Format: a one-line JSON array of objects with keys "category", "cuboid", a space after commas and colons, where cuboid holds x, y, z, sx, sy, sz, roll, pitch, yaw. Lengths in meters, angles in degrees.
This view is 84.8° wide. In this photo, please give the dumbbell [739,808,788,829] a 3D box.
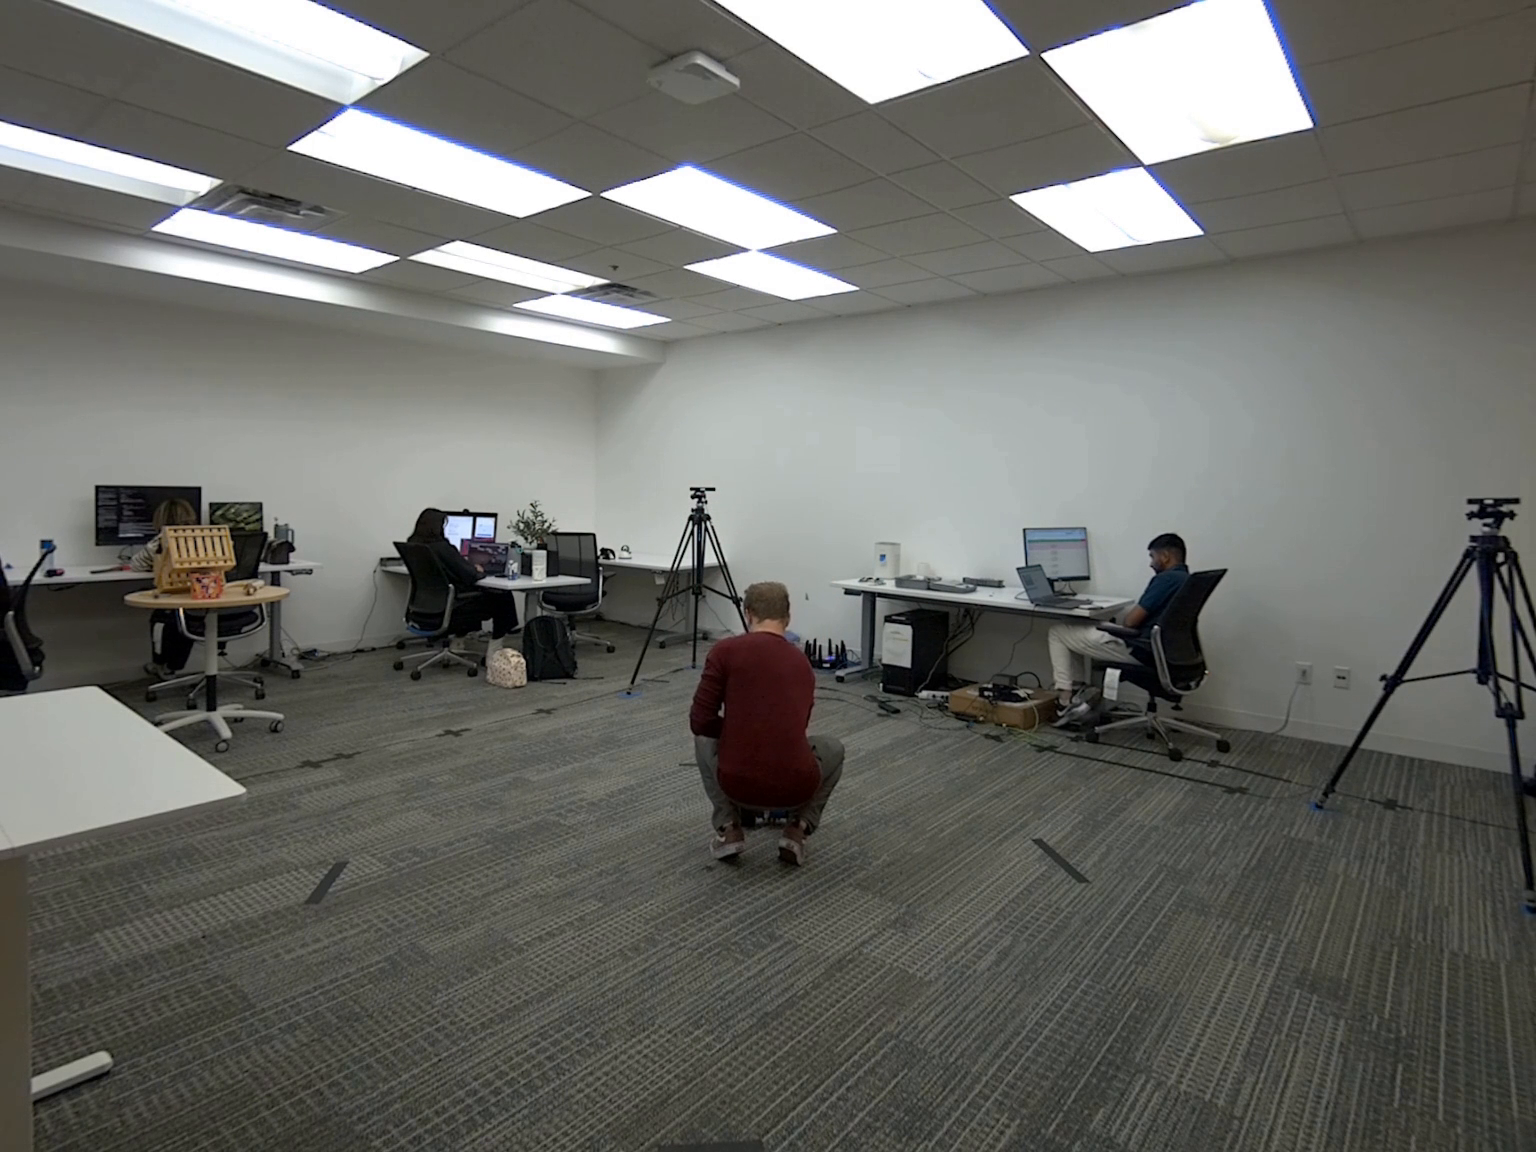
[{"category": "dumbbell", "cuboid": [0.012, 0.979, 3.544, 0.292, 0.120, 0.112, 1, 32, -3]}]
